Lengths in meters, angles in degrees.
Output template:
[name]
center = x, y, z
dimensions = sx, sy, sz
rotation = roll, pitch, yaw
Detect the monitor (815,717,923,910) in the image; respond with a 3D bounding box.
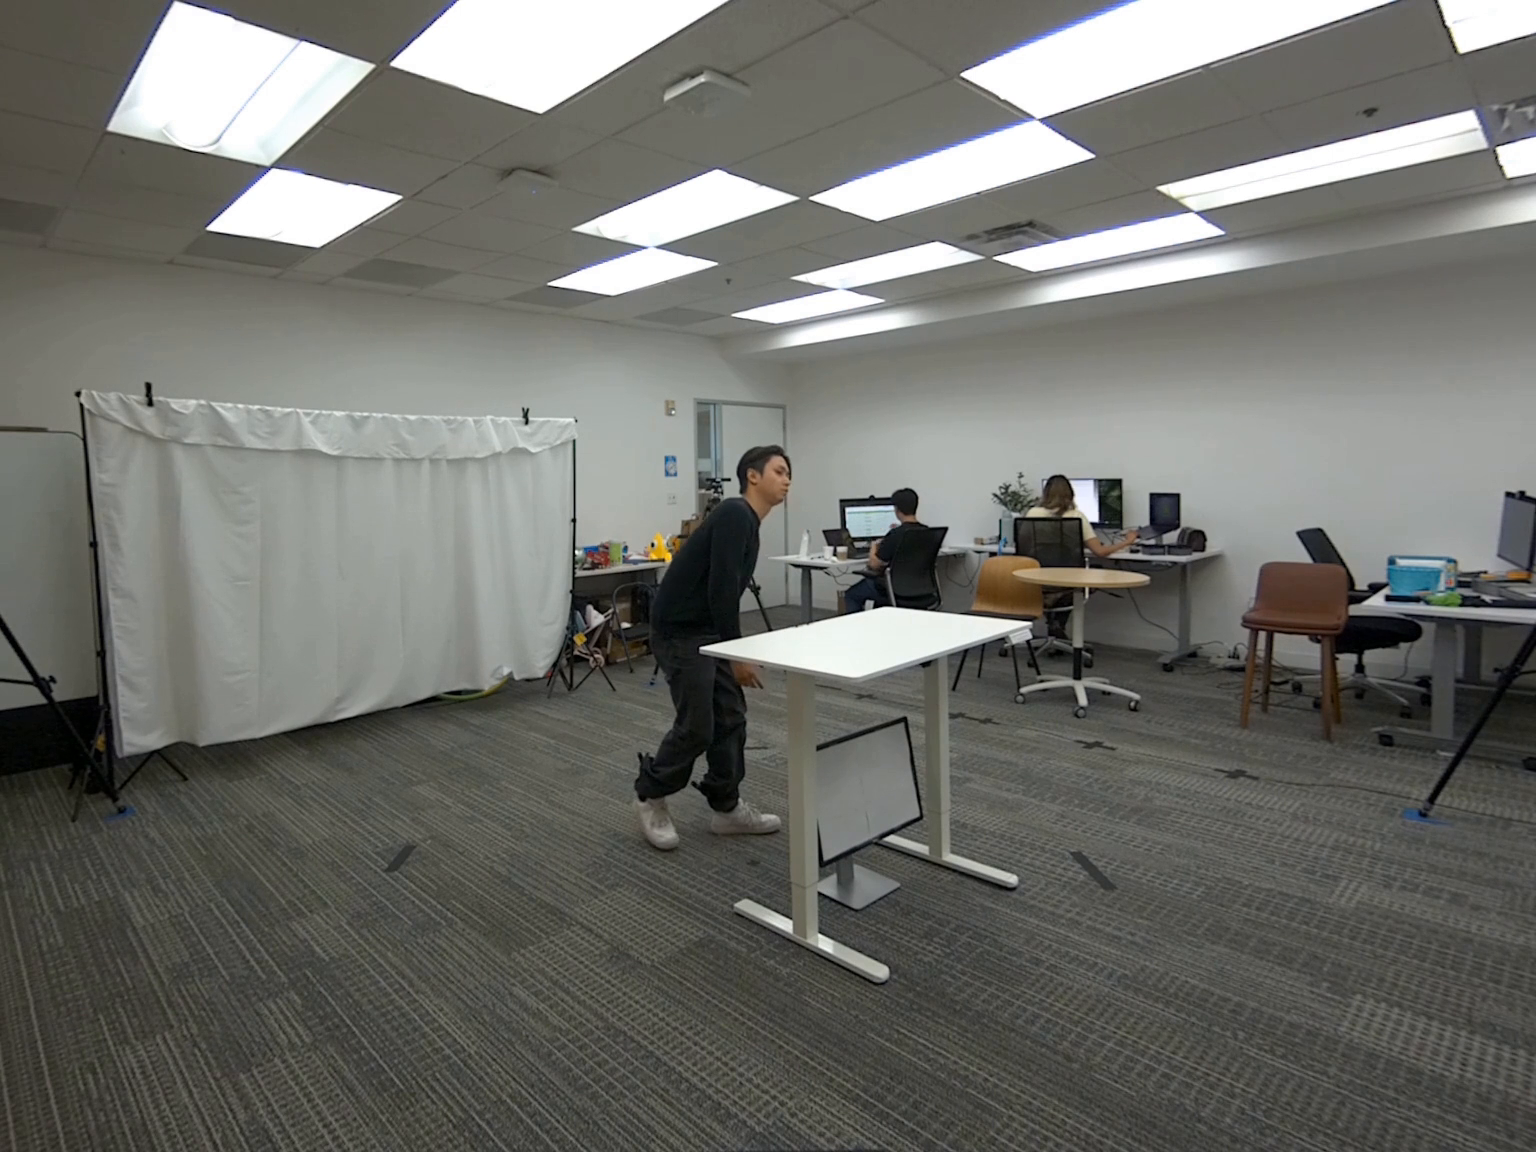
[monitor]
center = 0.303, 0.788, 2.879
dimensions = 0.180, 0.512, 0.516
rotation = 12, 11, 43
